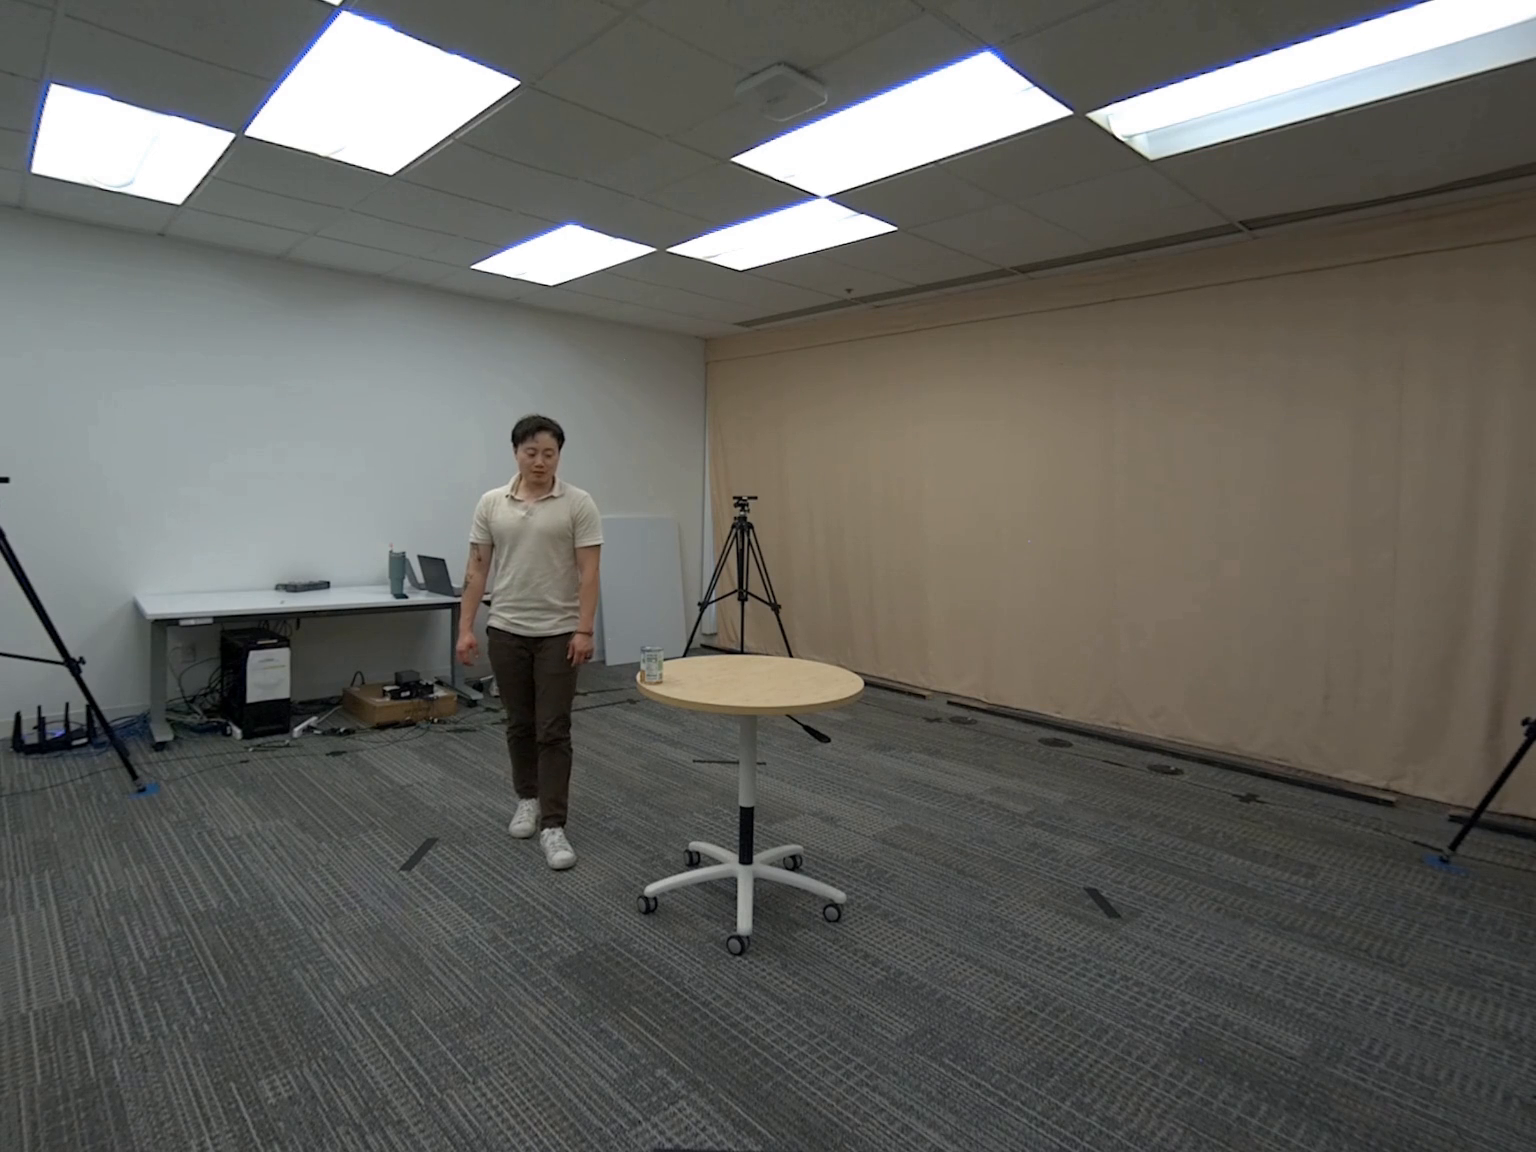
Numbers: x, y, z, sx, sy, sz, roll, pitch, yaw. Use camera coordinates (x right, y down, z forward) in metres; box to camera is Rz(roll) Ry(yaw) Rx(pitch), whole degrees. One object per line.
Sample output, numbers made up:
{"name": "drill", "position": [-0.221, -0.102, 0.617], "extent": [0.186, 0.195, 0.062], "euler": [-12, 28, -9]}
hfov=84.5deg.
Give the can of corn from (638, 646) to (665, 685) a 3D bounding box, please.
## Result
{"name": "can of corn", "position": [-0.386, 0.294, 2.734], "extent": [0.074, 0.110, 0.074], "euler": [0, 5, -1]}
